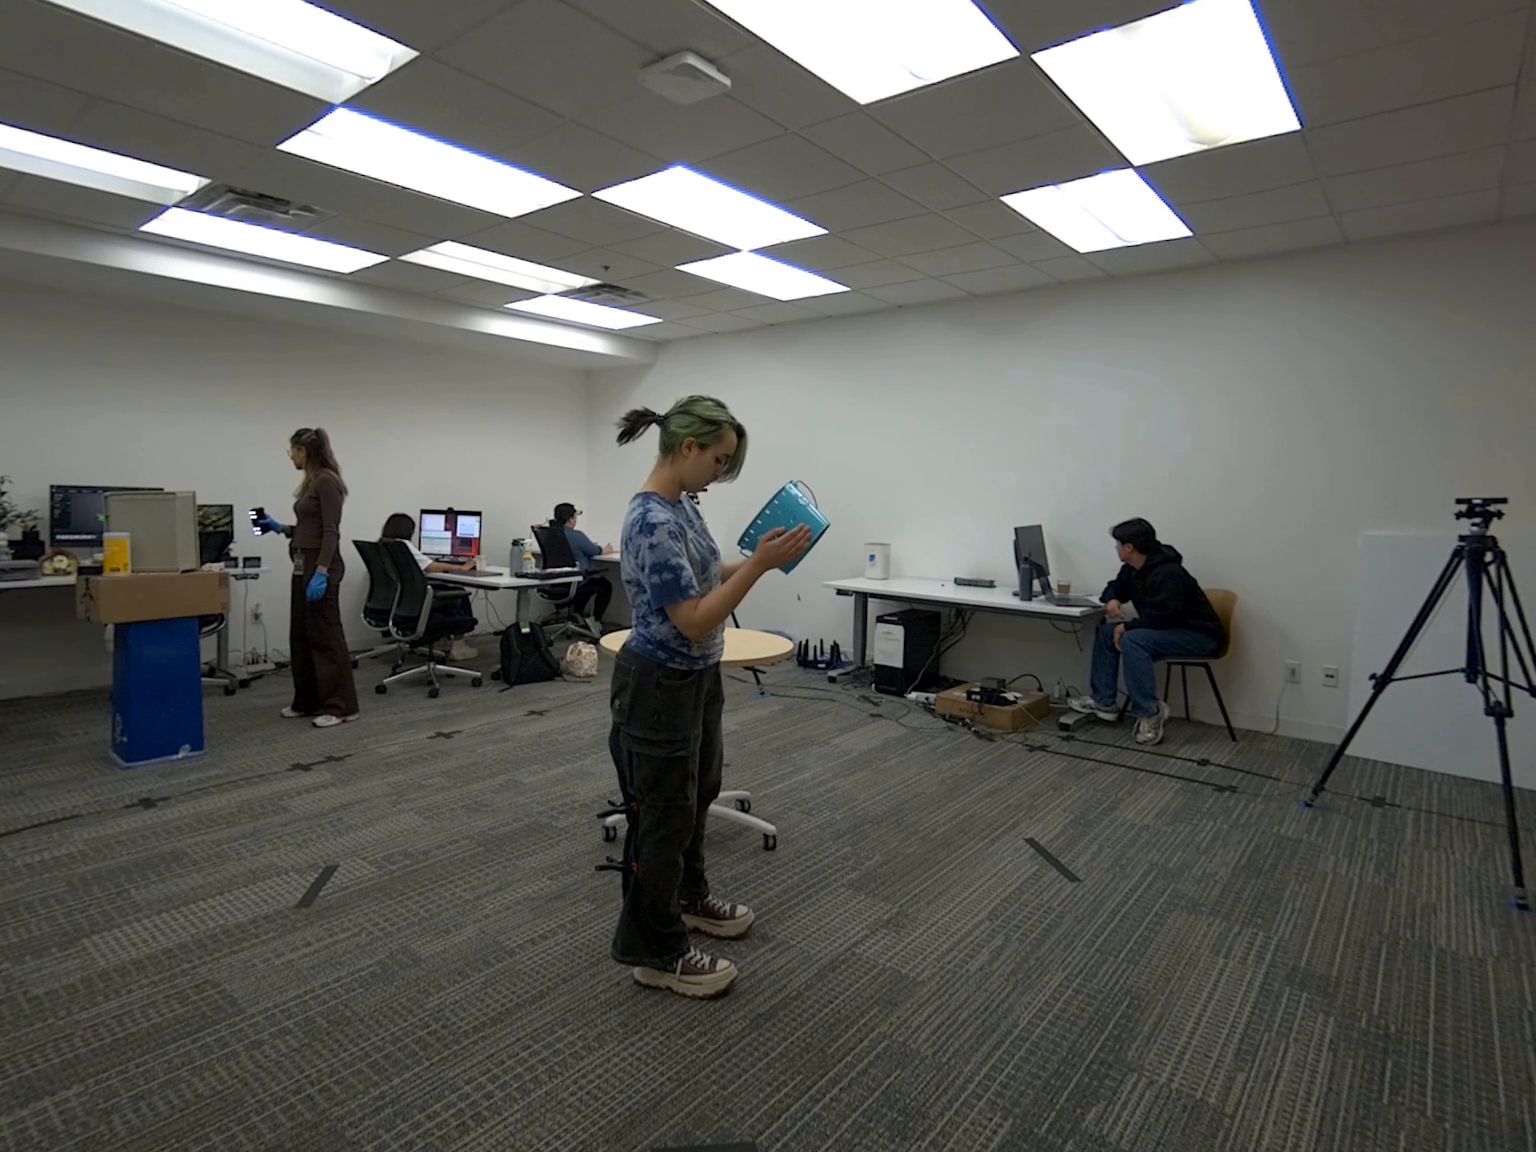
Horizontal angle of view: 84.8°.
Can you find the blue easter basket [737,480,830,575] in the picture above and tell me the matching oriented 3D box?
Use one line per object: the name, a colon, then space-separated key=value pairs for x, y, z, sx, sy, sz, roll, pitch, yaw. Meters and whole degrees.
blue easter basket: x=0.037 y=-0.122 z=2.262 sx=0.157 sy=0.243 sz=0.242 roll=41 pitch=9 yaw=4
